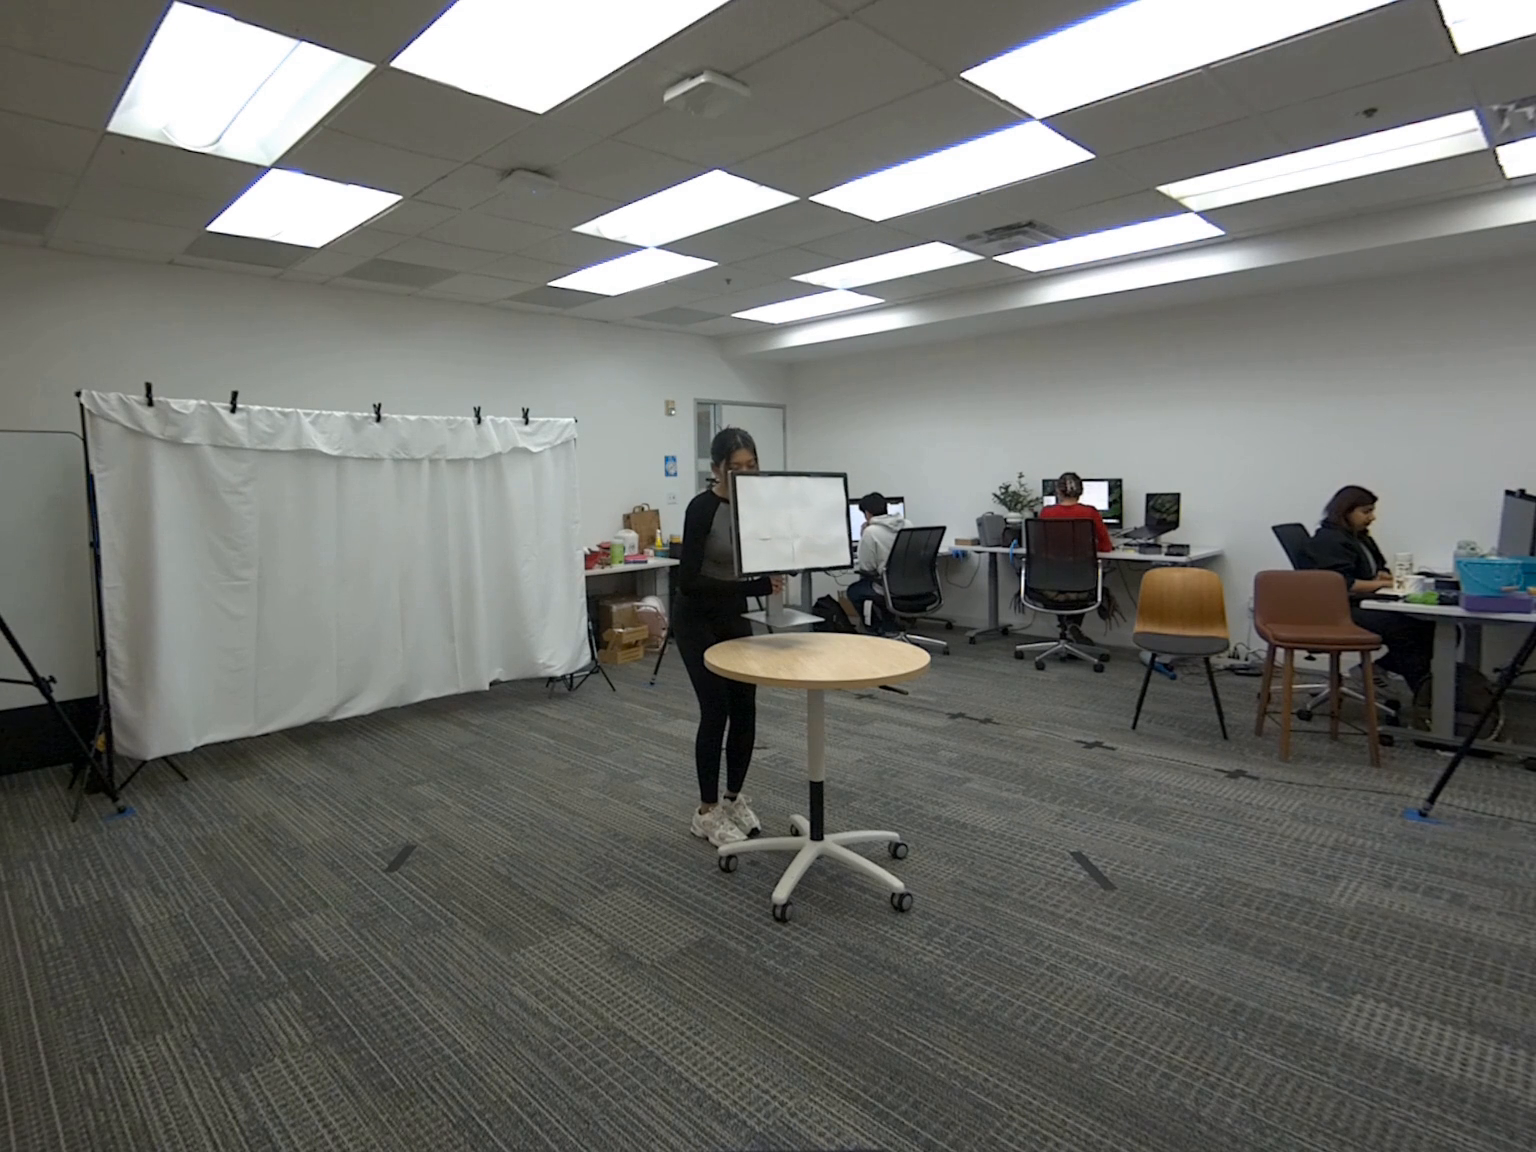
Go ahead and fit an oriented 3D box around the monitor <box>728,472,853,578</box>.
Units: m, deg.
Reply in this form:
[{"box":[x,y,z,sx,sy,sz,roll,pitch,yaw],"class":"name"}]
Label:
[{"box":[0.067,-0.103,3.078,0.525,0.519,0.193,-4,10,-41],"class":"monitor"}]
